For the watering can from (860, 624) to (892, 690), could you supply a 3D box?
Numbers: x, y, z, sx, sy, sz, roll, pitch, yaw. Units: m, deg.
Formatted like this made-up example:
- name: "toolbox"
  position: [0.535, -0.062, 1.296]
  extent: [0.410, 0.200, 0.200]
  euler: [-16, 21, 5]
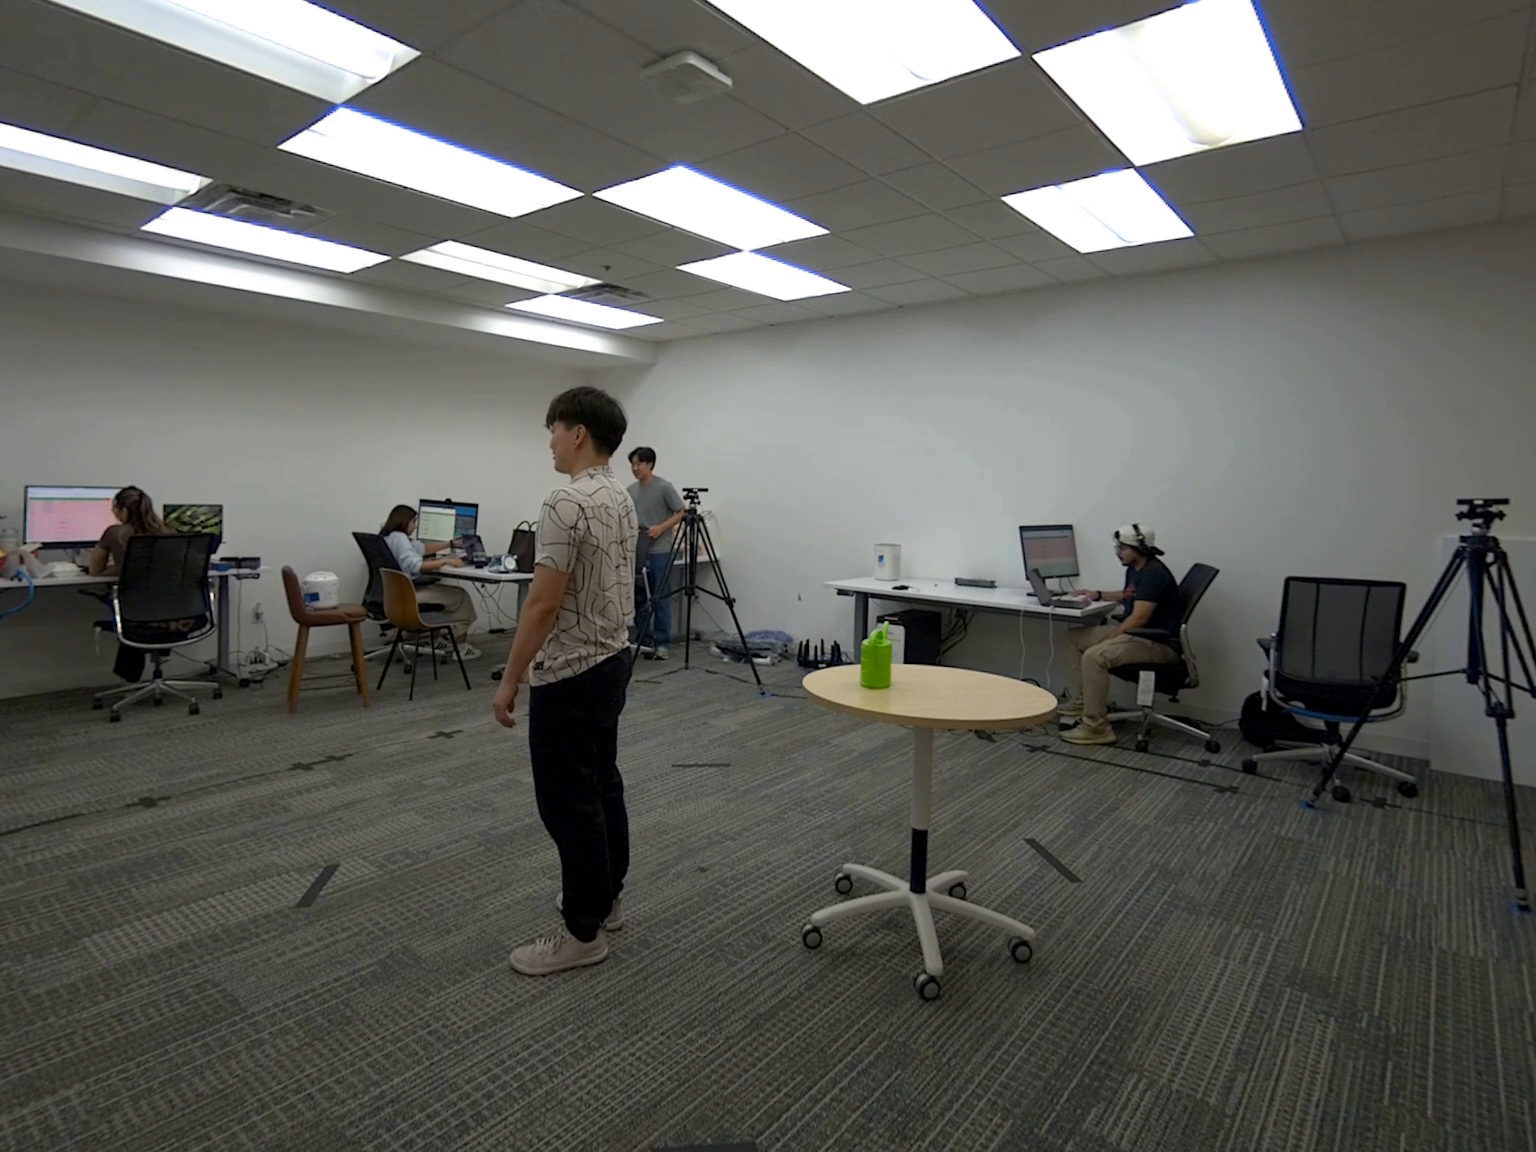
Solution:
- name: "watering can"
  position: [0.357, 0.253, 2.703]
  extent: [0.101, 0.176, 0.271]
  euler: [5, 7, 29]
